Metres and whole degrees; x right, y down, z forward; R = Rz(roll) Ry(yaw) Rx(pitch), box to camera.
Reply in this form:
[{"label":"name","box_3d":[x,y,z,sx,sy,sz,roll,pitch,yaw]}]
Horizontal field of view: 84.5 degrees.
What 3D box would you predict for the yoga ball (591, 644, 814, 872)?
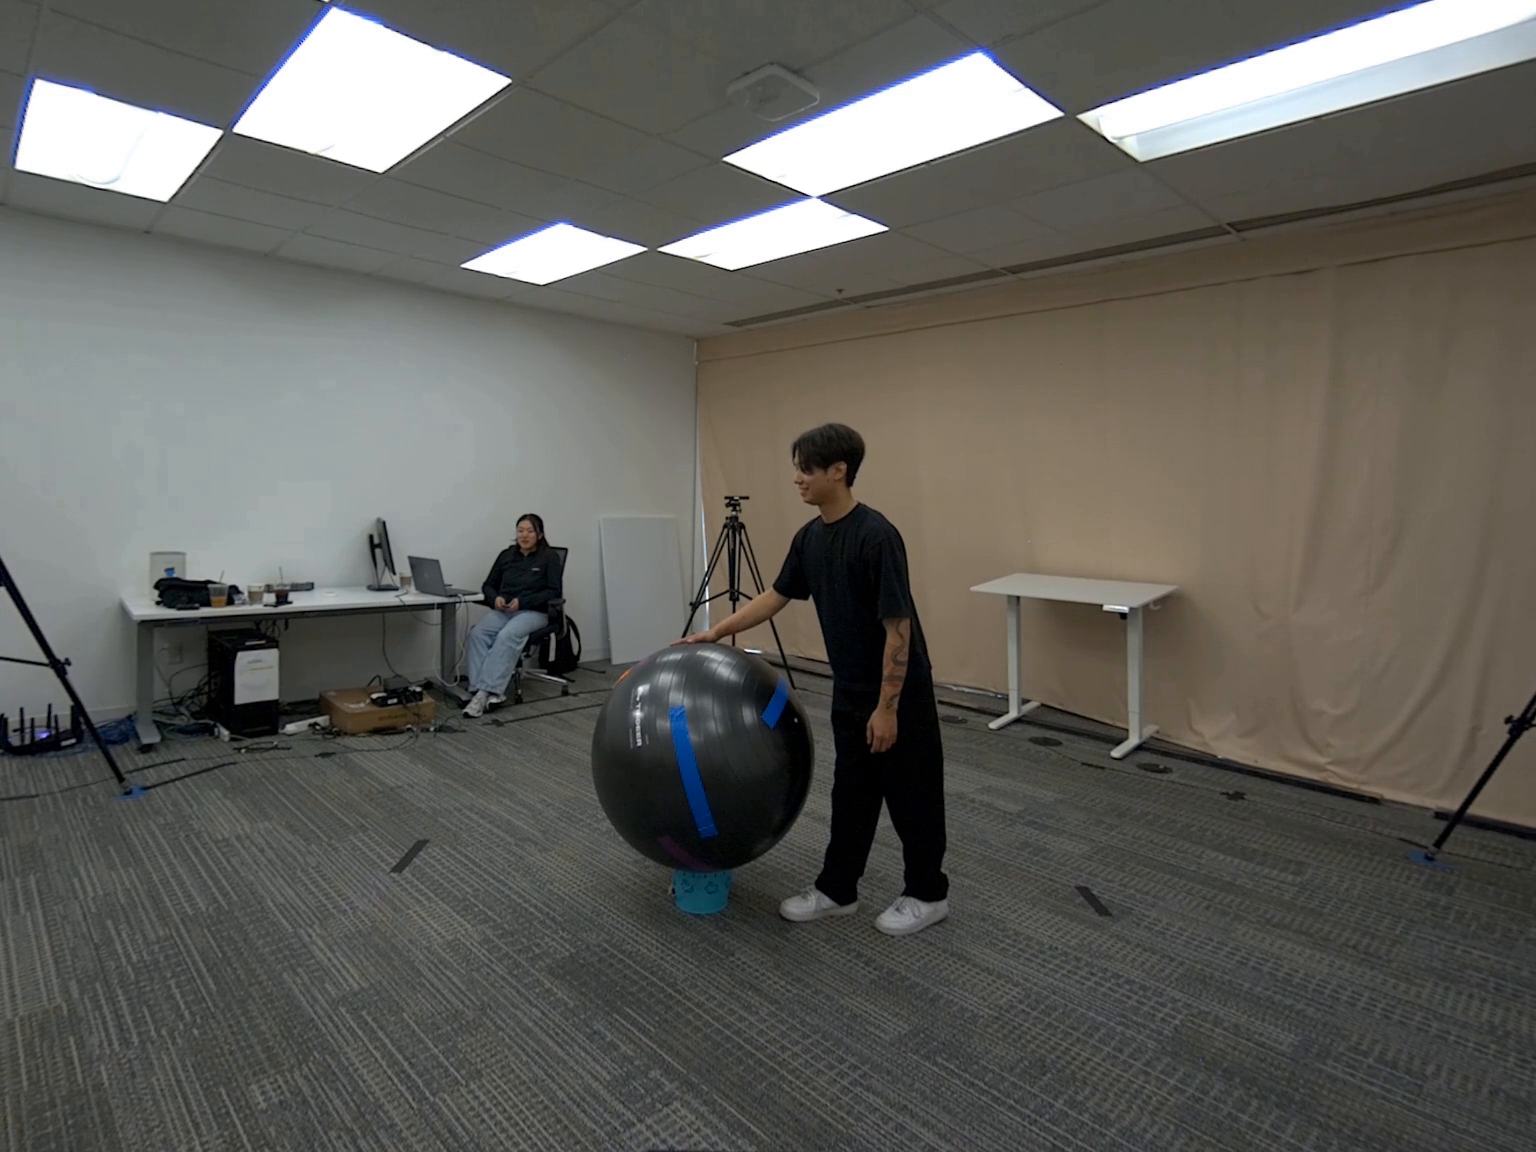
[{"label":"yoga ball","box_3d":[-0.233,0.611,2.880,0.757,0.756,0.761,1,4,-1]}]
